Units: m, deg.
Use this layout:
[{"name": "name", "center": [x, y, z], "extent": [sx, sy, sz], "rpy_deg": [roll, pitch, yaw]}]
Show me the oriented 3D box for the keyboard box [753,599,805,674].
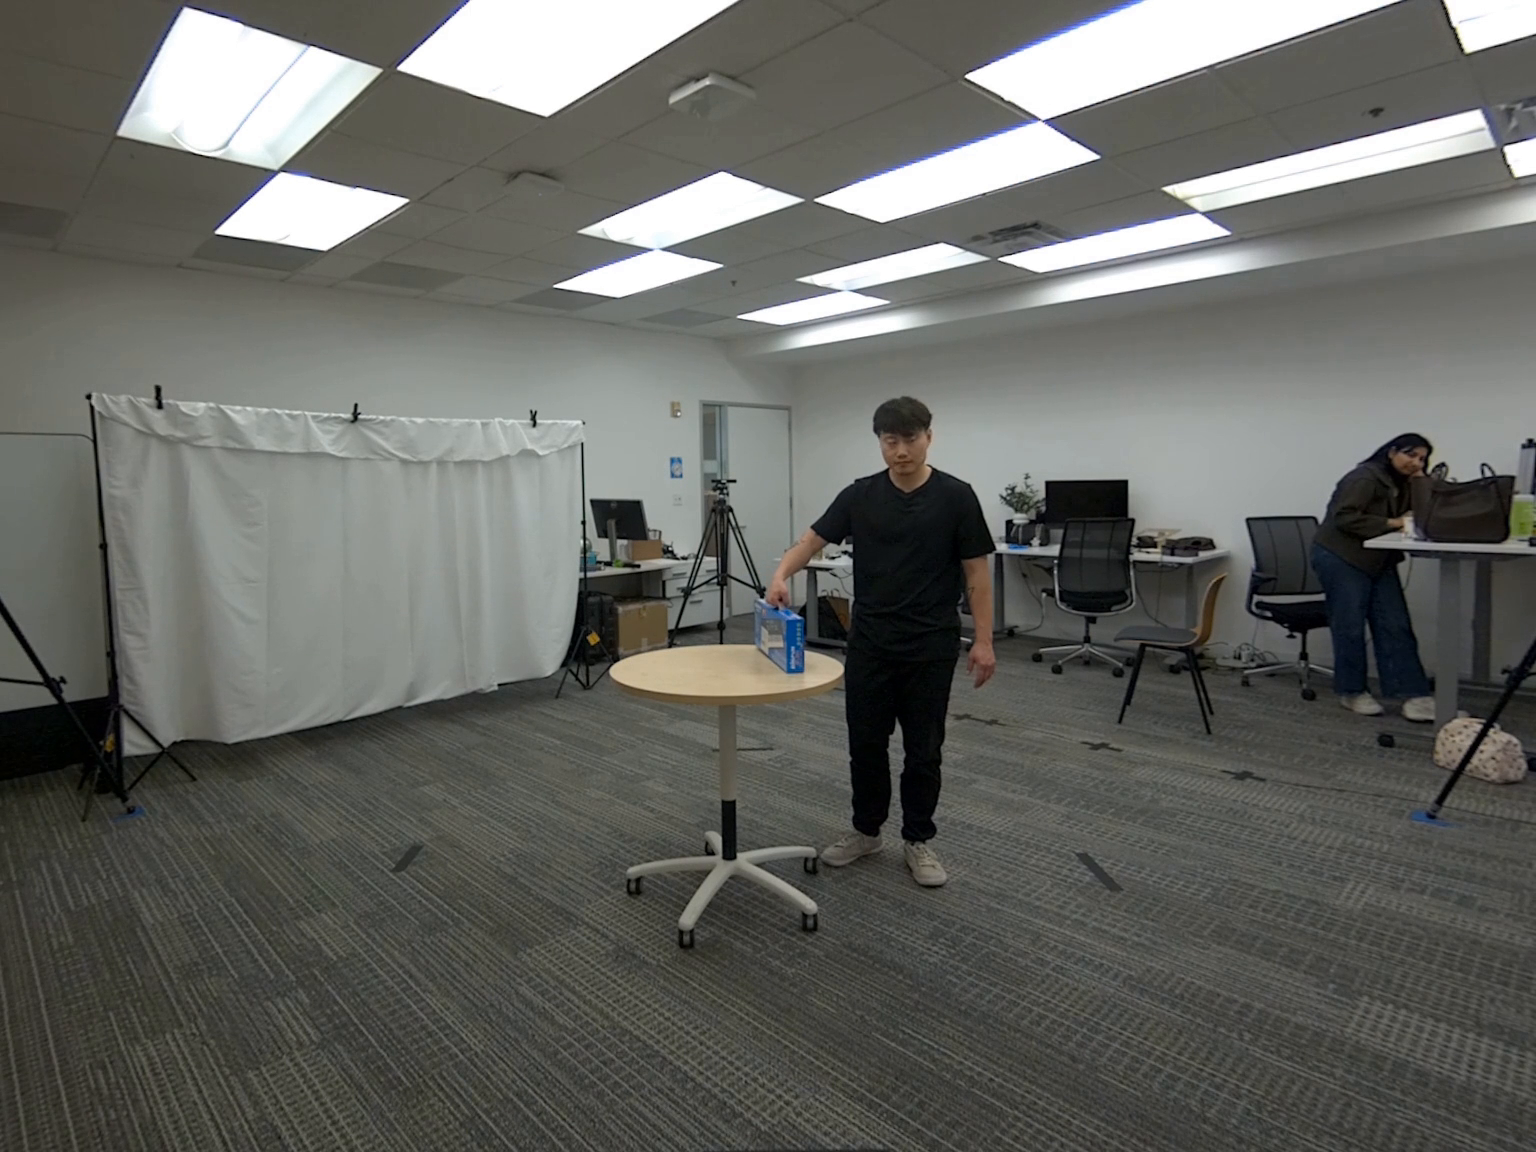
[{"name": "keyboard box", "center": [0.035, 0.194, 2.907], "extent": [0.058, 0.175, 0.444], "rpy_deg": [-2, 6, -13]}]
